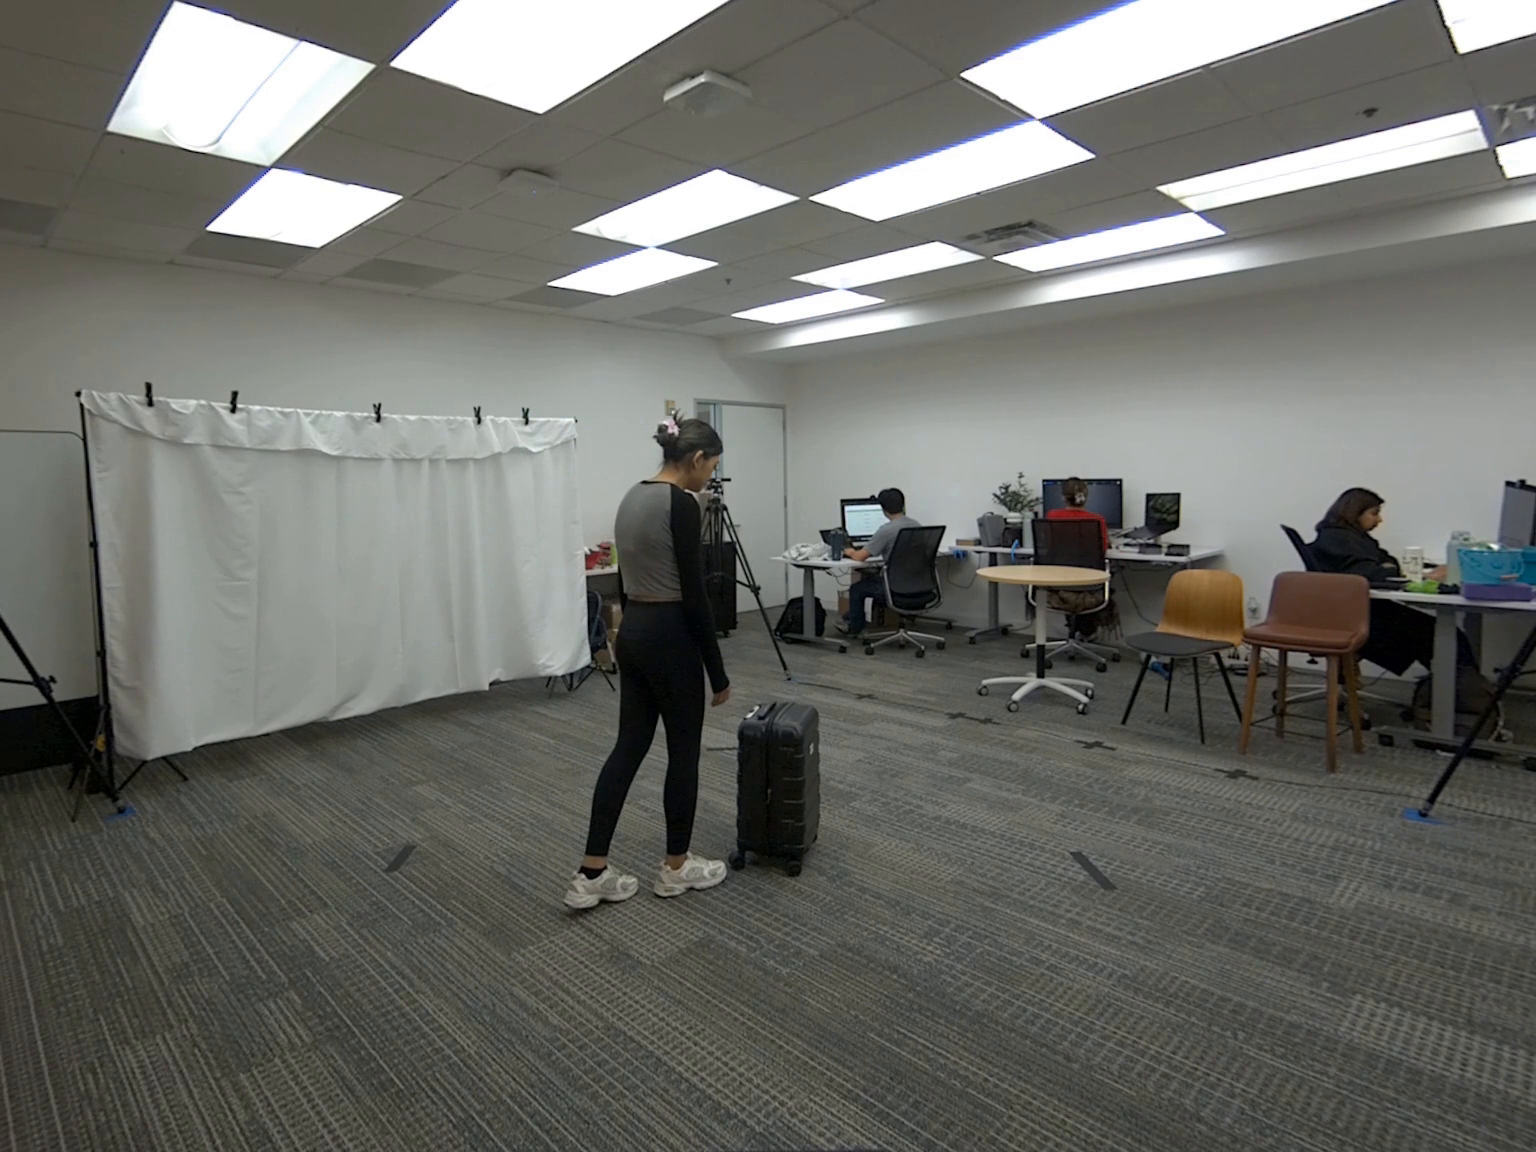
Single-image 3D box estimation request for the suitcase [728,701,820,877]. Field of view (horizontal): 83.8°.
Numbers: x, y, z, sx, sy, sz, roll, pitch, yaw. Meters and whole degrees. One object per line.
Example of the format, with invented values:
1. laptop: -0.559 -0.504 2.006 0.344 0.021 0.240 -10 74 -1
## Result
1. suitcase: 0.046 0.757 3.168 0.253 0.548 0.370 2 4 16
